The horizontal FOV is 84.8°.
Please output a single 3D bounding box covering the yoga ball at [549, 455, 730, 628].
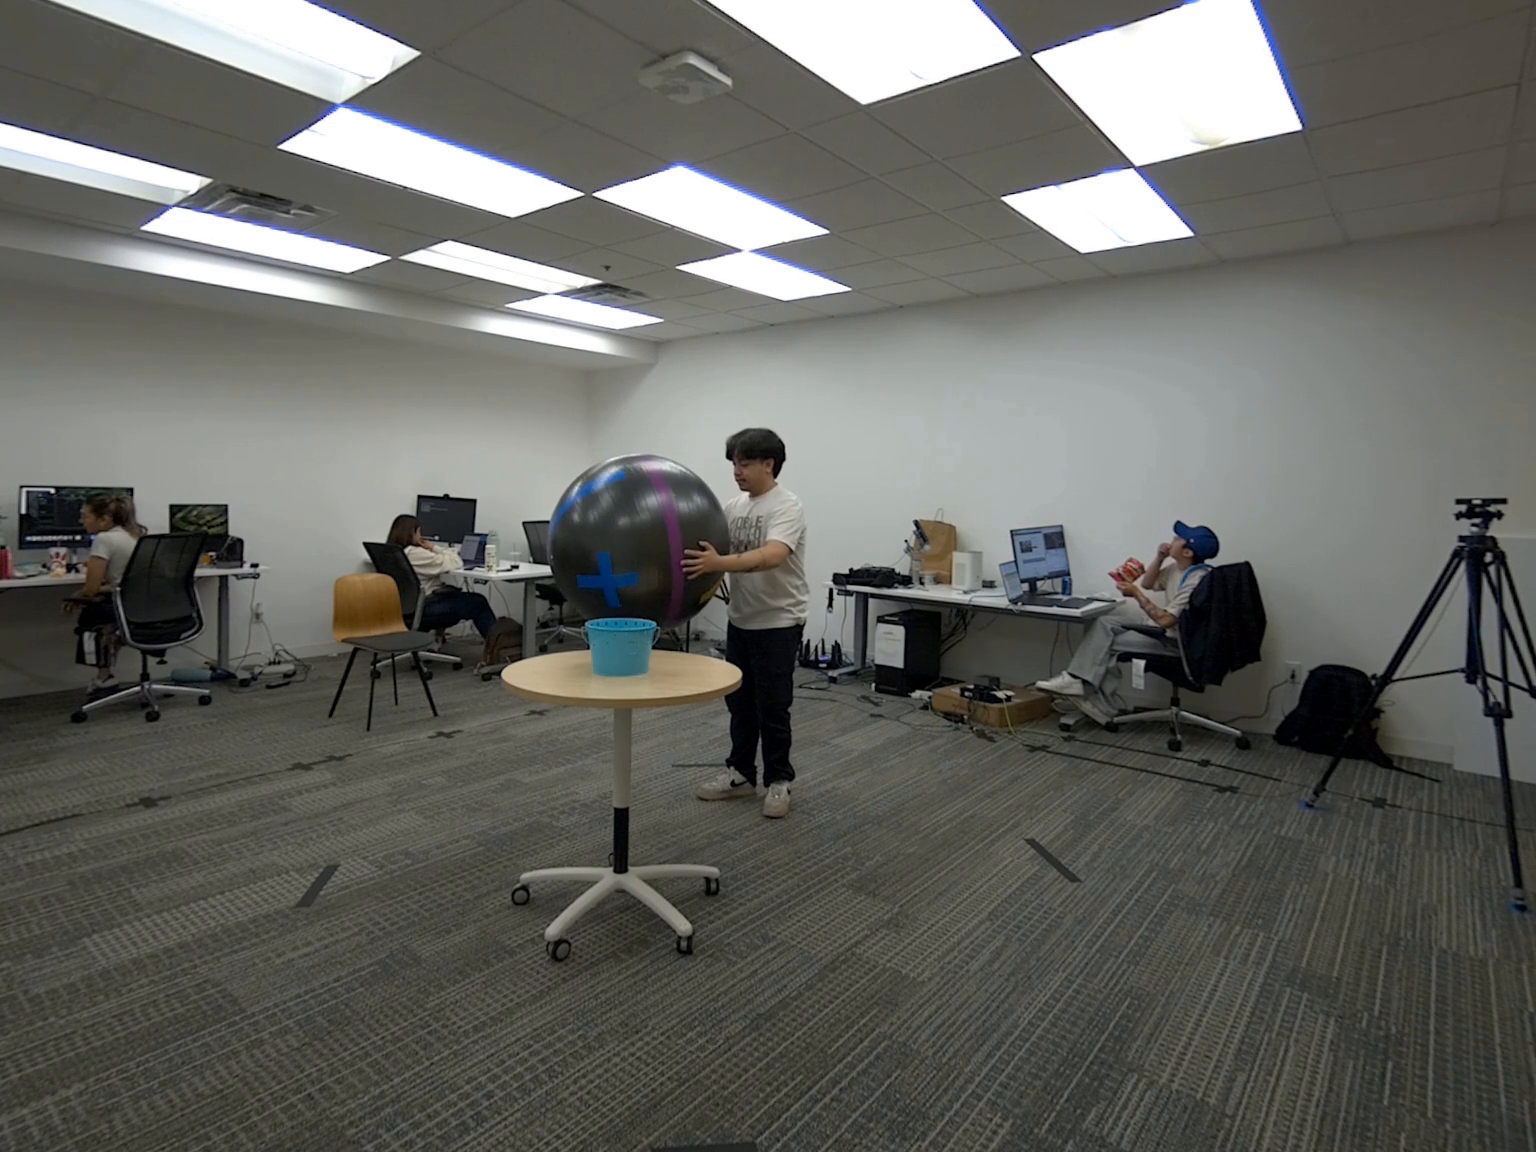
[{"bbox_3d":[-0.548,-0.135,3.575,0.757,0.755,0.762,1,4,-2],"label":"yoga ball"}]
